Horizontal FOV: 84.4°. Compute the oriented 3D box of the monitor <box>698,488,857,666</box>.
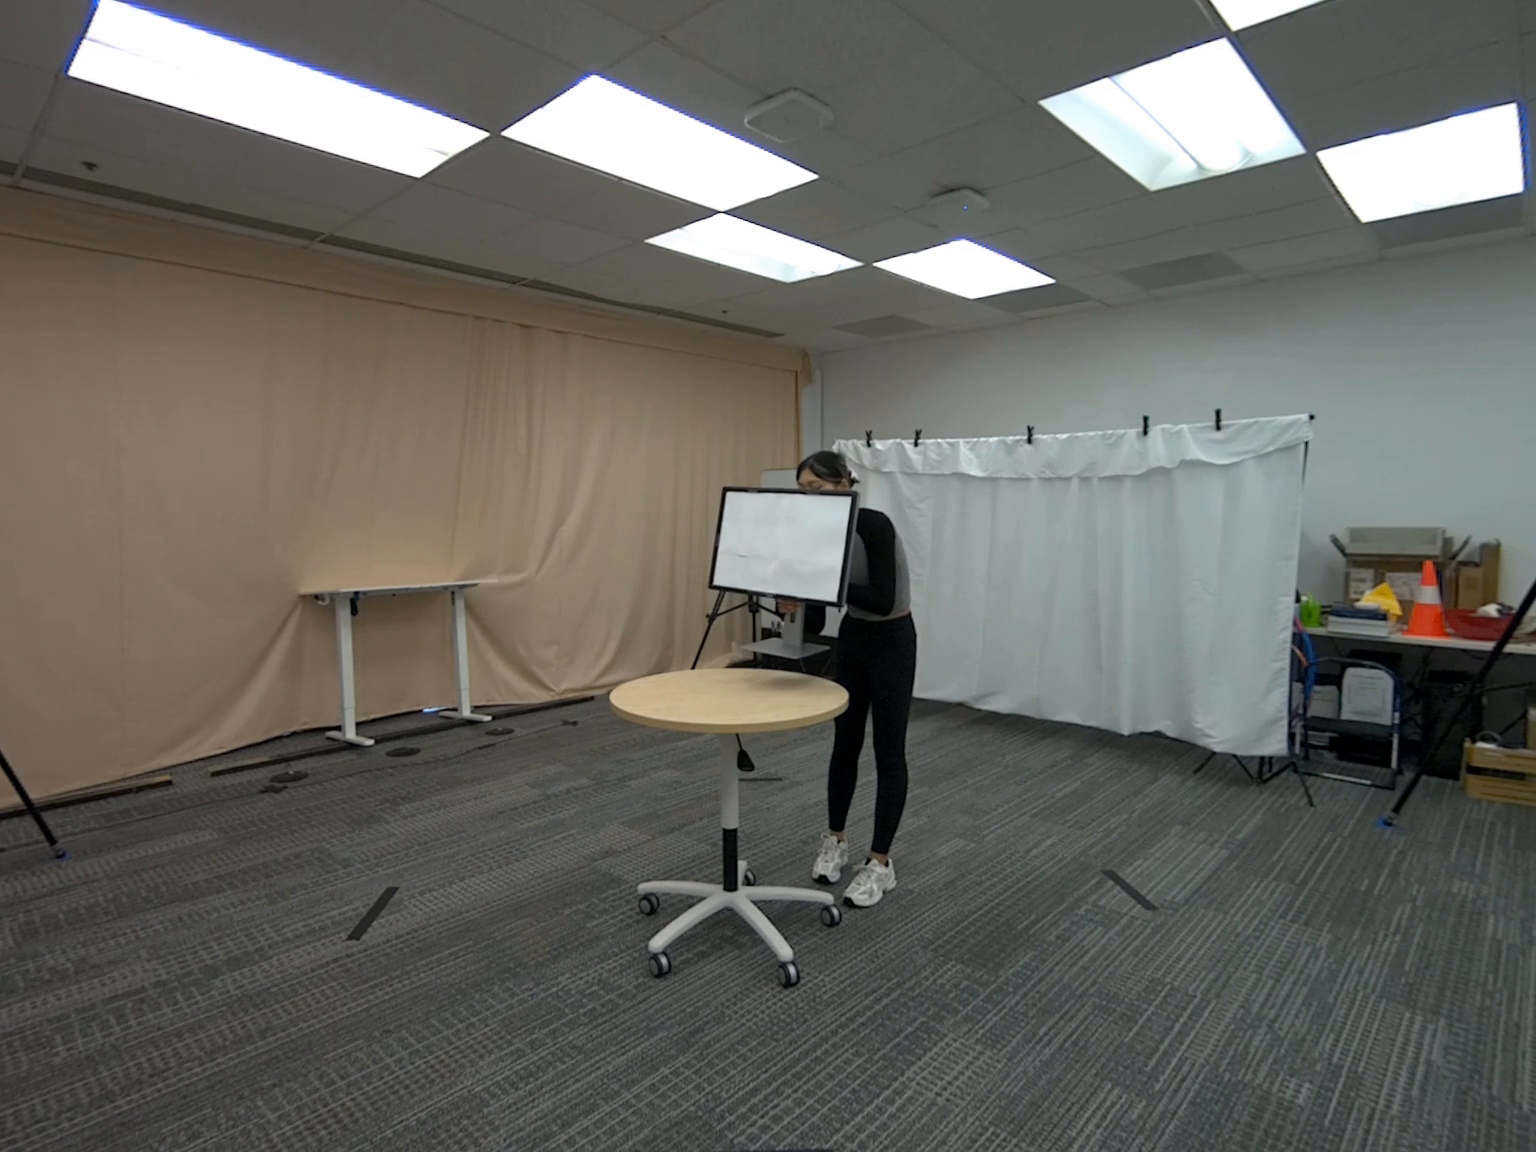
[{"bbox_3d":[0.061,-0.020,2.798,0.557,0.520,0.182,5,8,39],"label":"monitor"}]
